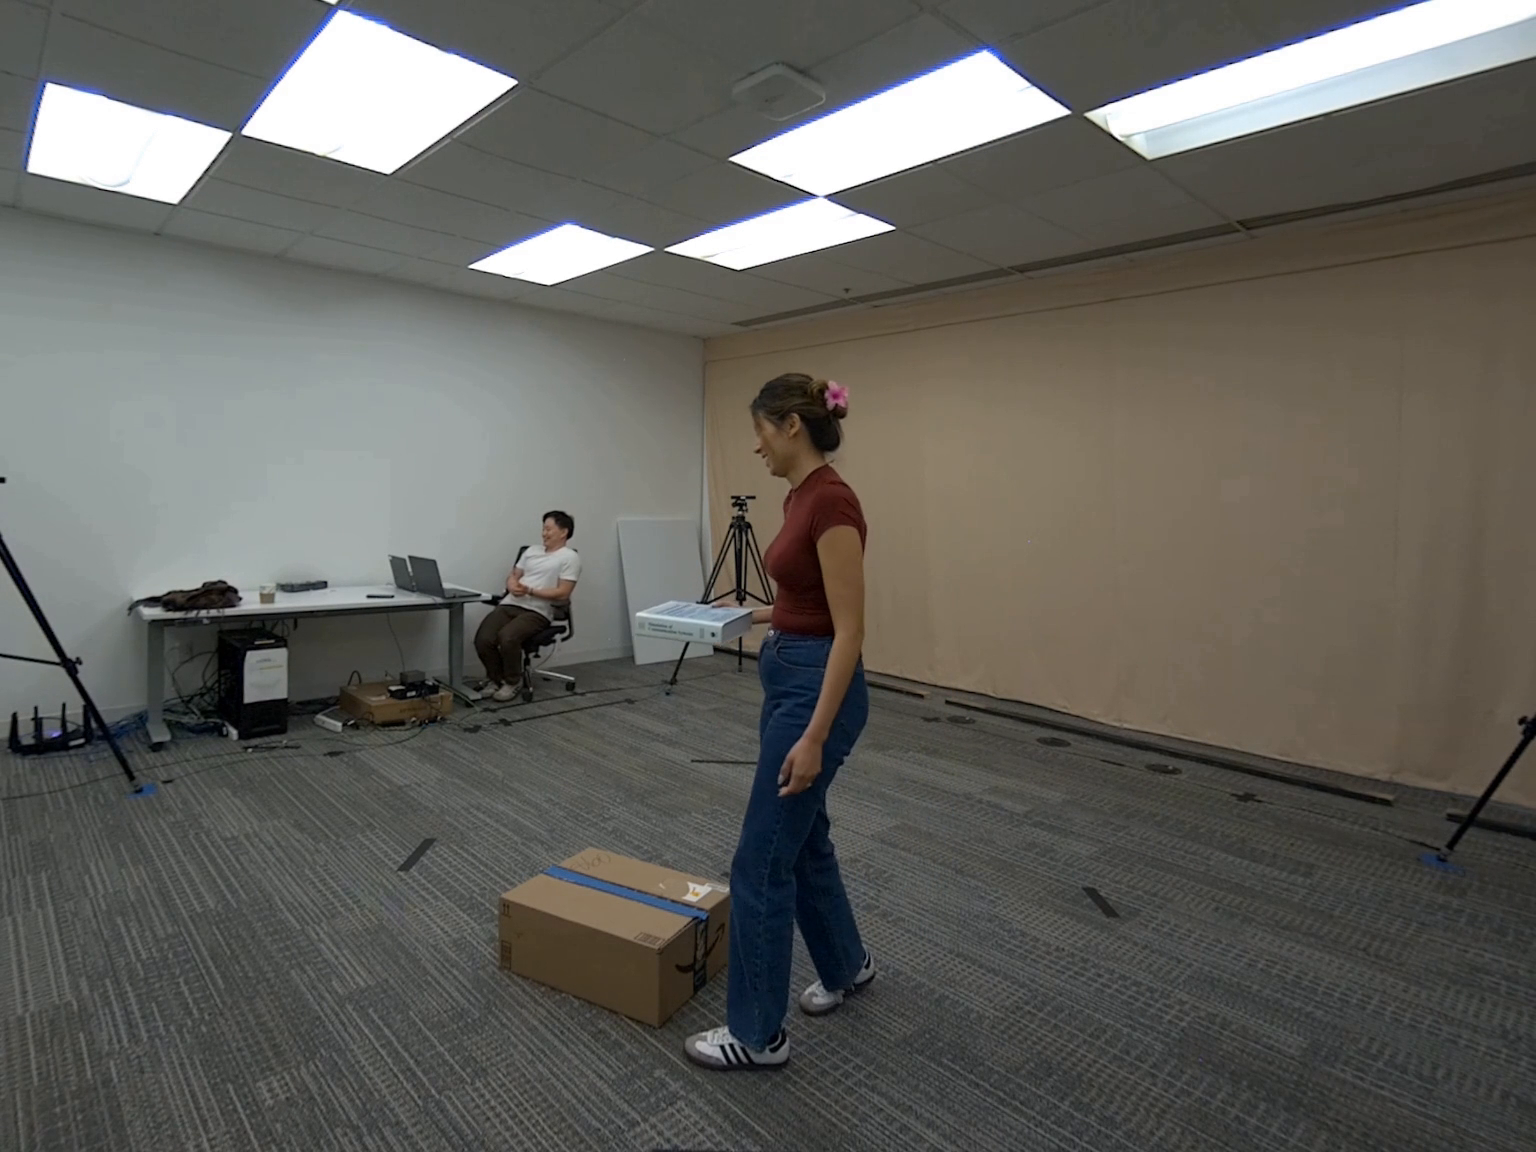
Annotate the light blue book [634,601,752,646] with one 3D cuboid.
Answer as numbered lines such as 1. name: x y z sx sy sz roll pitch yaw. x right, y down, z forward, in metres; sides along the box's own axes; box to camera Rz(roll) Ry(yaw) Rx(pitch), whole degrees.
1. light blue book: -0.204 0.127 2.245 0.265 0.058 0.189 3 10 20
